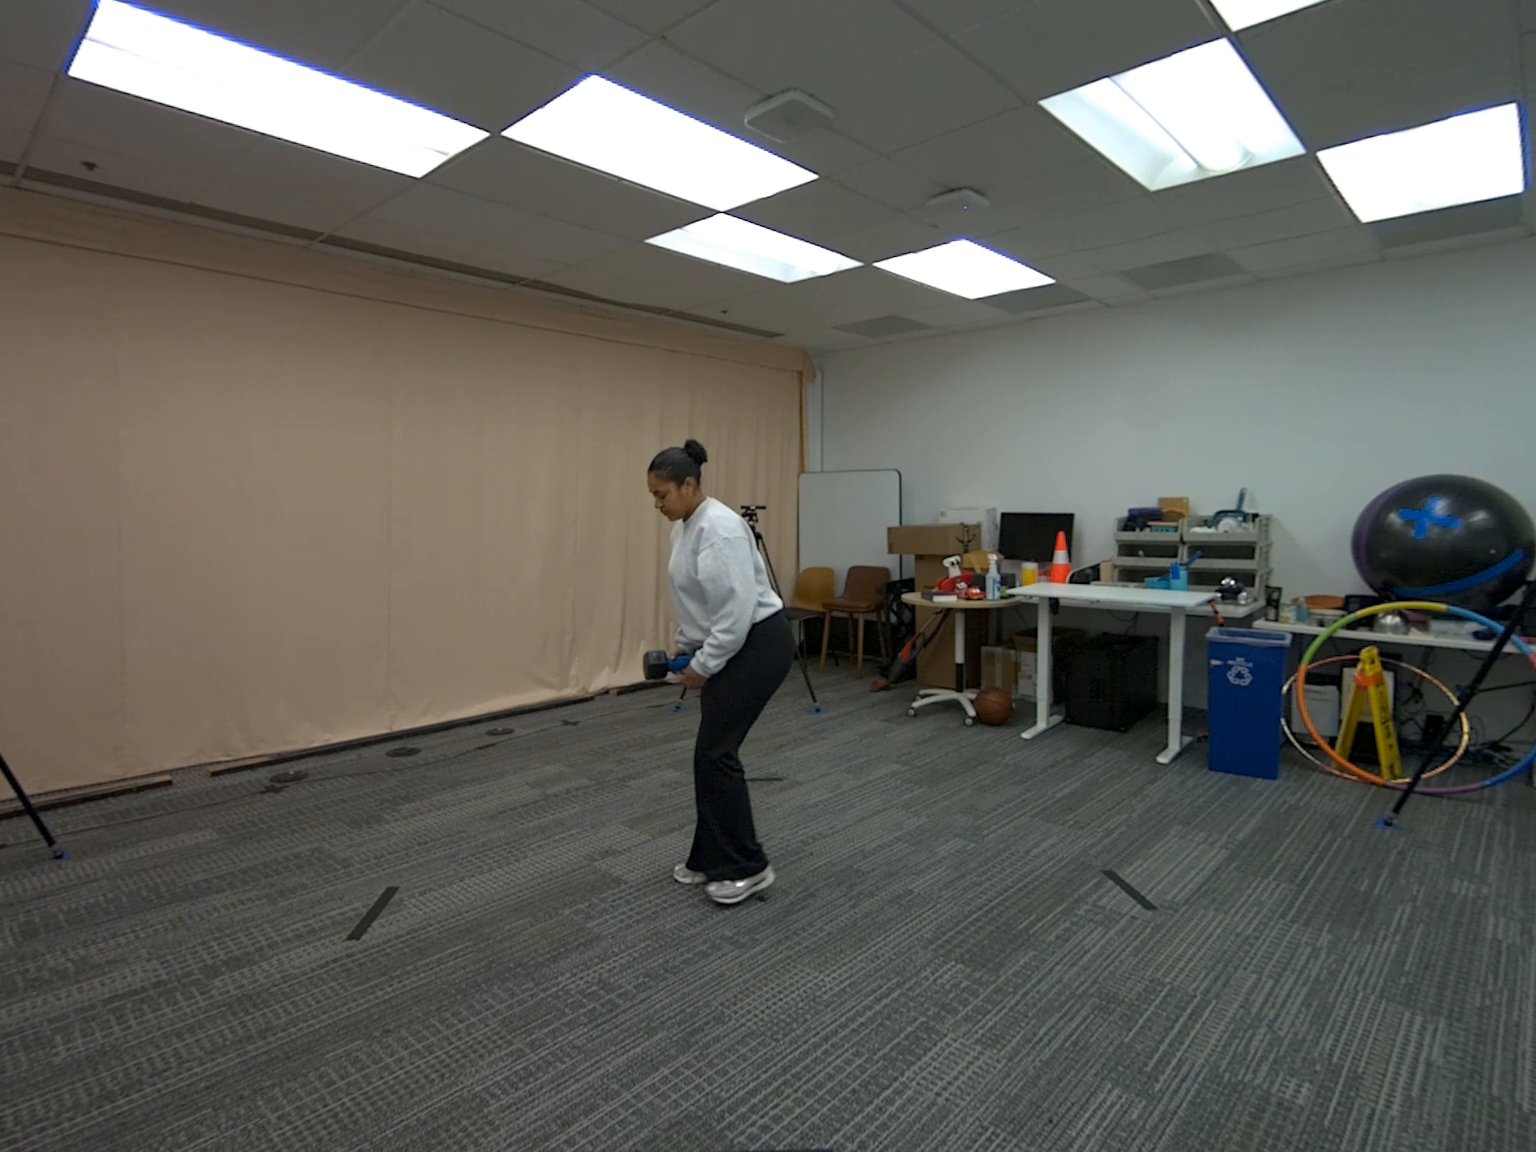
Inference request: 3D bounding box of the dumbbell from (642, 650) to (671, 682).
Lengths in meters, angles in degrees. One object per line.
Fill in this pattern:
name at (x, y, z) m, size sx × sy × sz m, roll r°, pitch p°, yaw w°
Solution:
dumbbell at (-0.327, 0.340, 3.256) m, size 0.289 × 0.122 × 0.111 m, roll -3°, pitch 19°, yaw -16°
